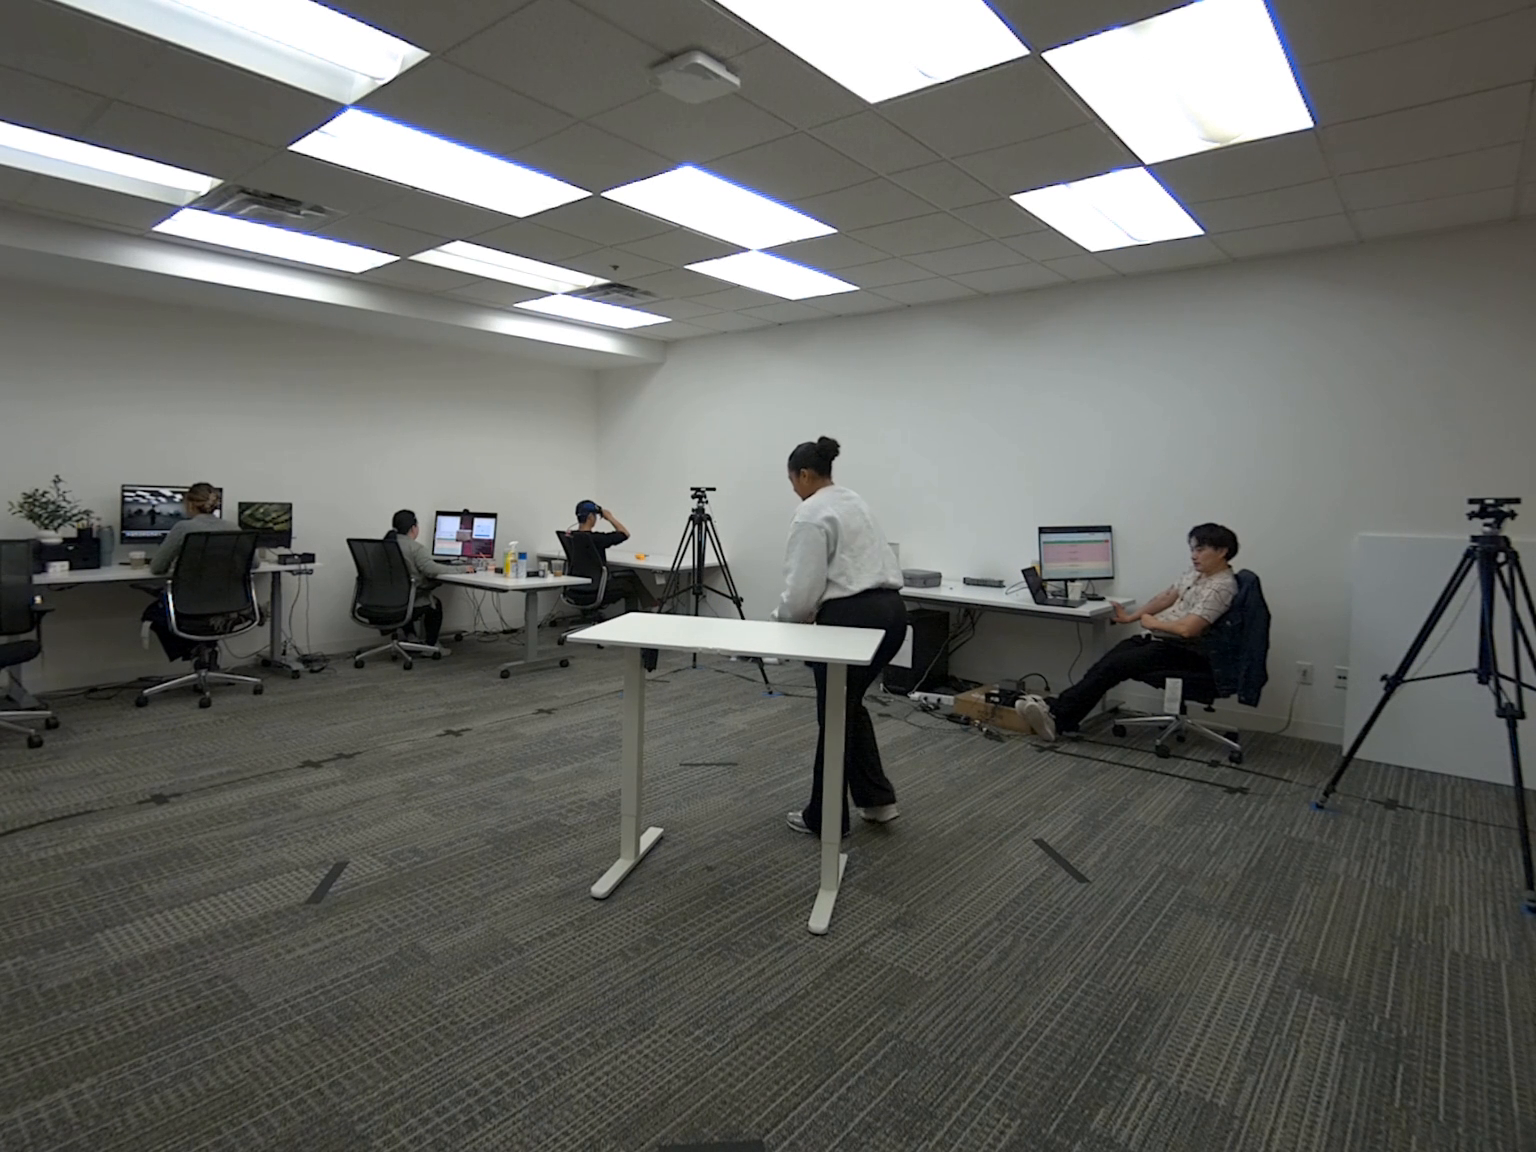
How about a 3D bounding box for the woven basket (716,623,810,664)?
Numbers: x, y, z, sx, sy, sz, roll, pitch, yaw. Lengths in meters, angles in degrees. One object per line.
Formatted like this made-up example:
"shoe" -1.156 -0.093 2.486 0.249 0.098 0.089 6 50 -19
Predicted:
"woven basket" -0.028 0.285 3.676 0.247 0.074 0.355 -13 -7 -34
